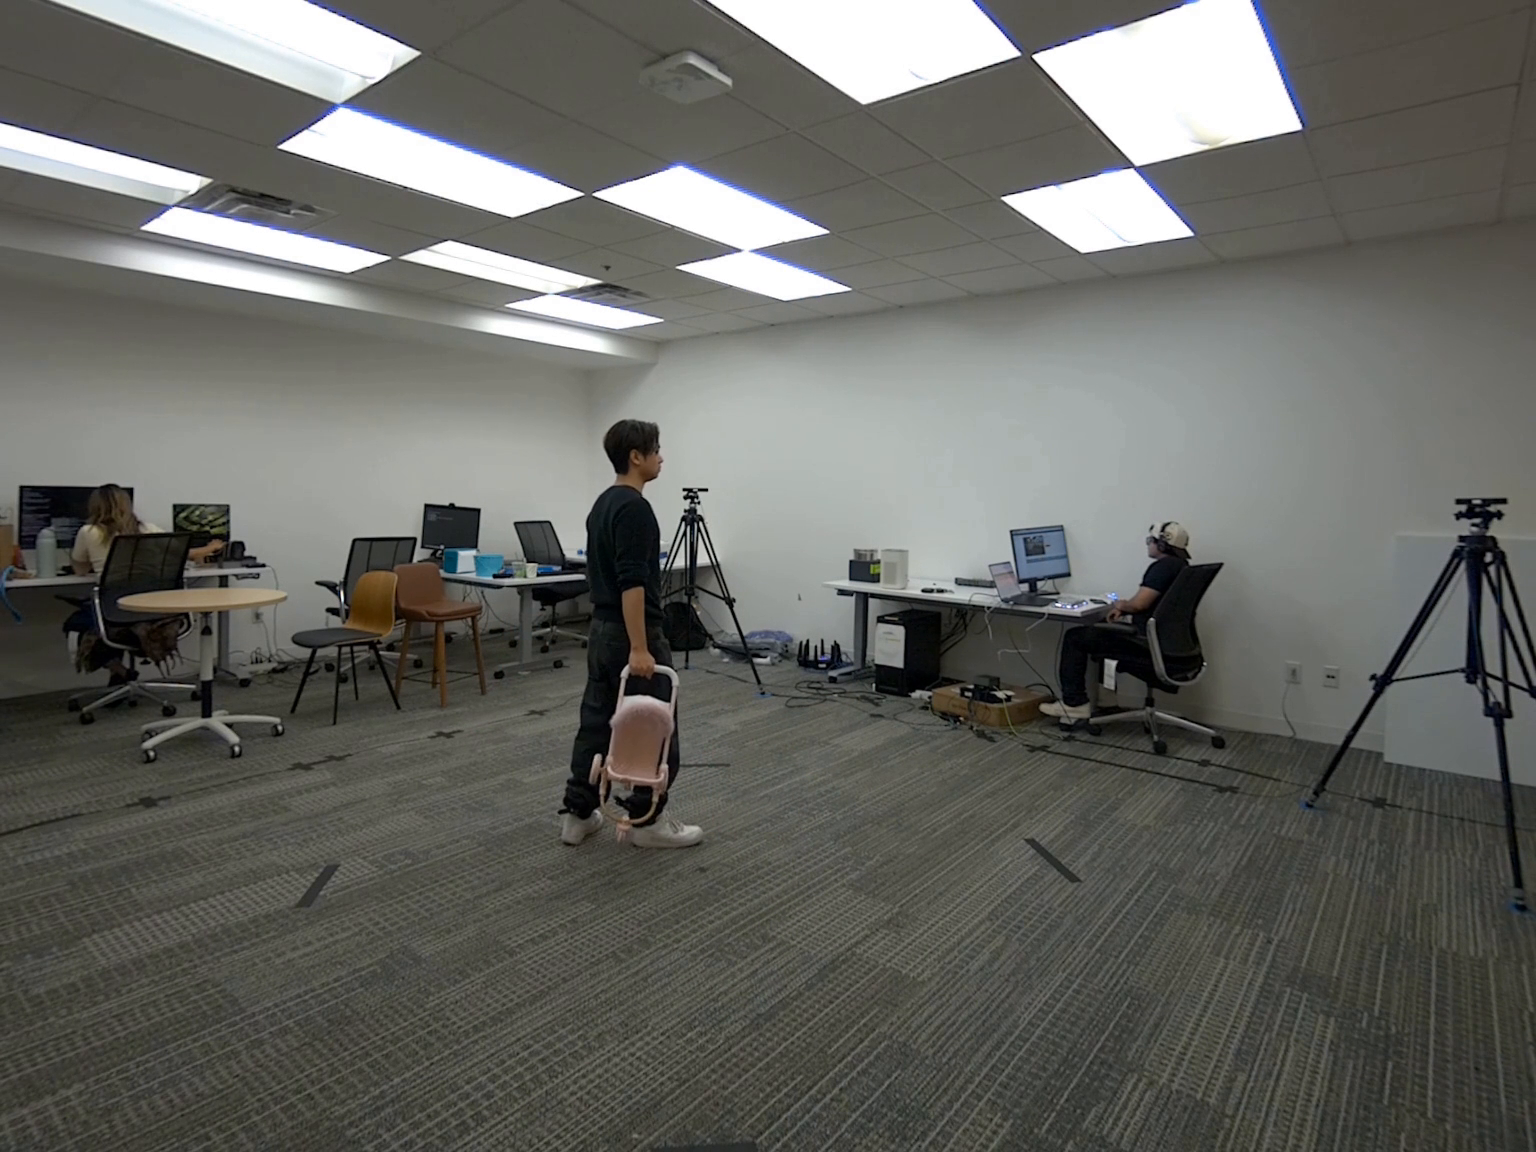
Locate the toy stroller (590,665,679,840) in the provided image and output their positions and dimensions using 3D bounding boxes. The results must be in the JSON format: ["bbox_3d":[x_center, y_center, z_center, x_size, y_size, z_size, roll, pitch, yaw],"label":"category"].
[{"bbox_3d":[-0.468,0.618,2.973,0.279,0.529,0.348,12,17,-7],"label":"toy stroller"}]
